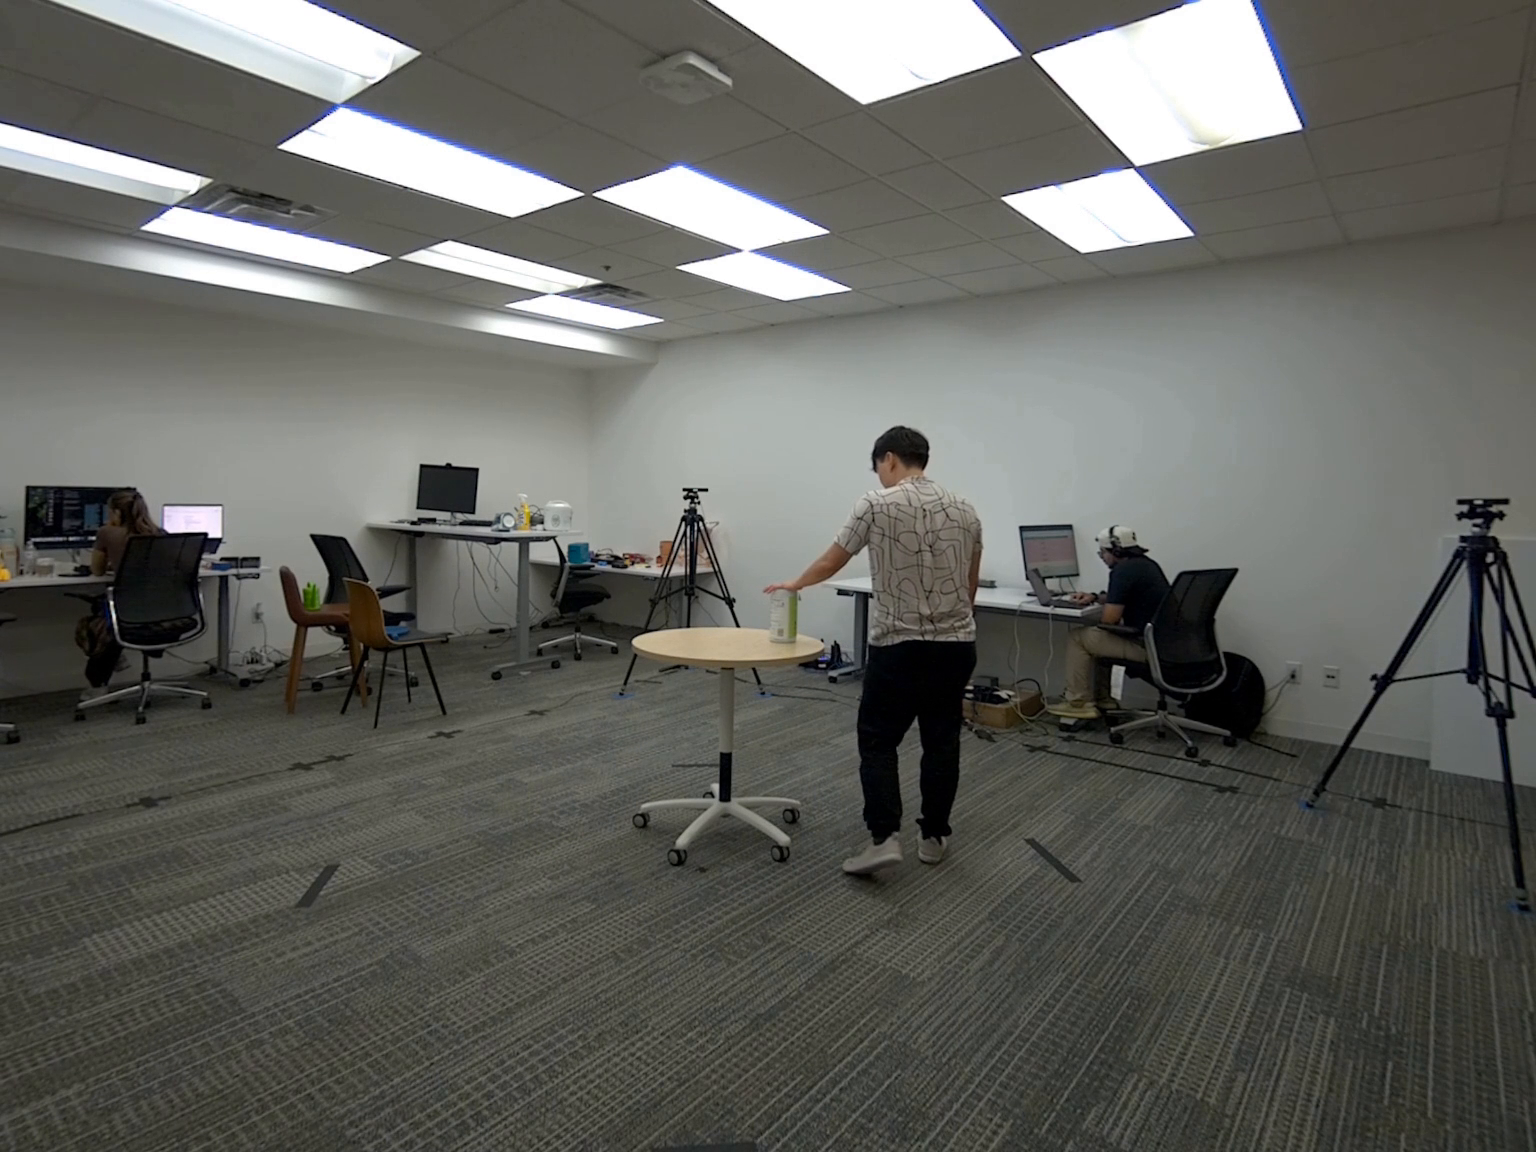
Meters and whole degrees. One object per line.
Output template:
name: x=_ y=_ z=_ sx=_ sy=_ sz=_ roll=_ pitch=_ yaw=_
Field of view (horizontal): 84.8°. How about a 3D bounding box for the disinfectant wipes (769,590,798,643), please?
disinfectant wipes: x=0.053 y=0.158 z=3.446 sx=0.118 sy=0.217 sz=0.118 roll=-1 pitch=2 yaw=-2
